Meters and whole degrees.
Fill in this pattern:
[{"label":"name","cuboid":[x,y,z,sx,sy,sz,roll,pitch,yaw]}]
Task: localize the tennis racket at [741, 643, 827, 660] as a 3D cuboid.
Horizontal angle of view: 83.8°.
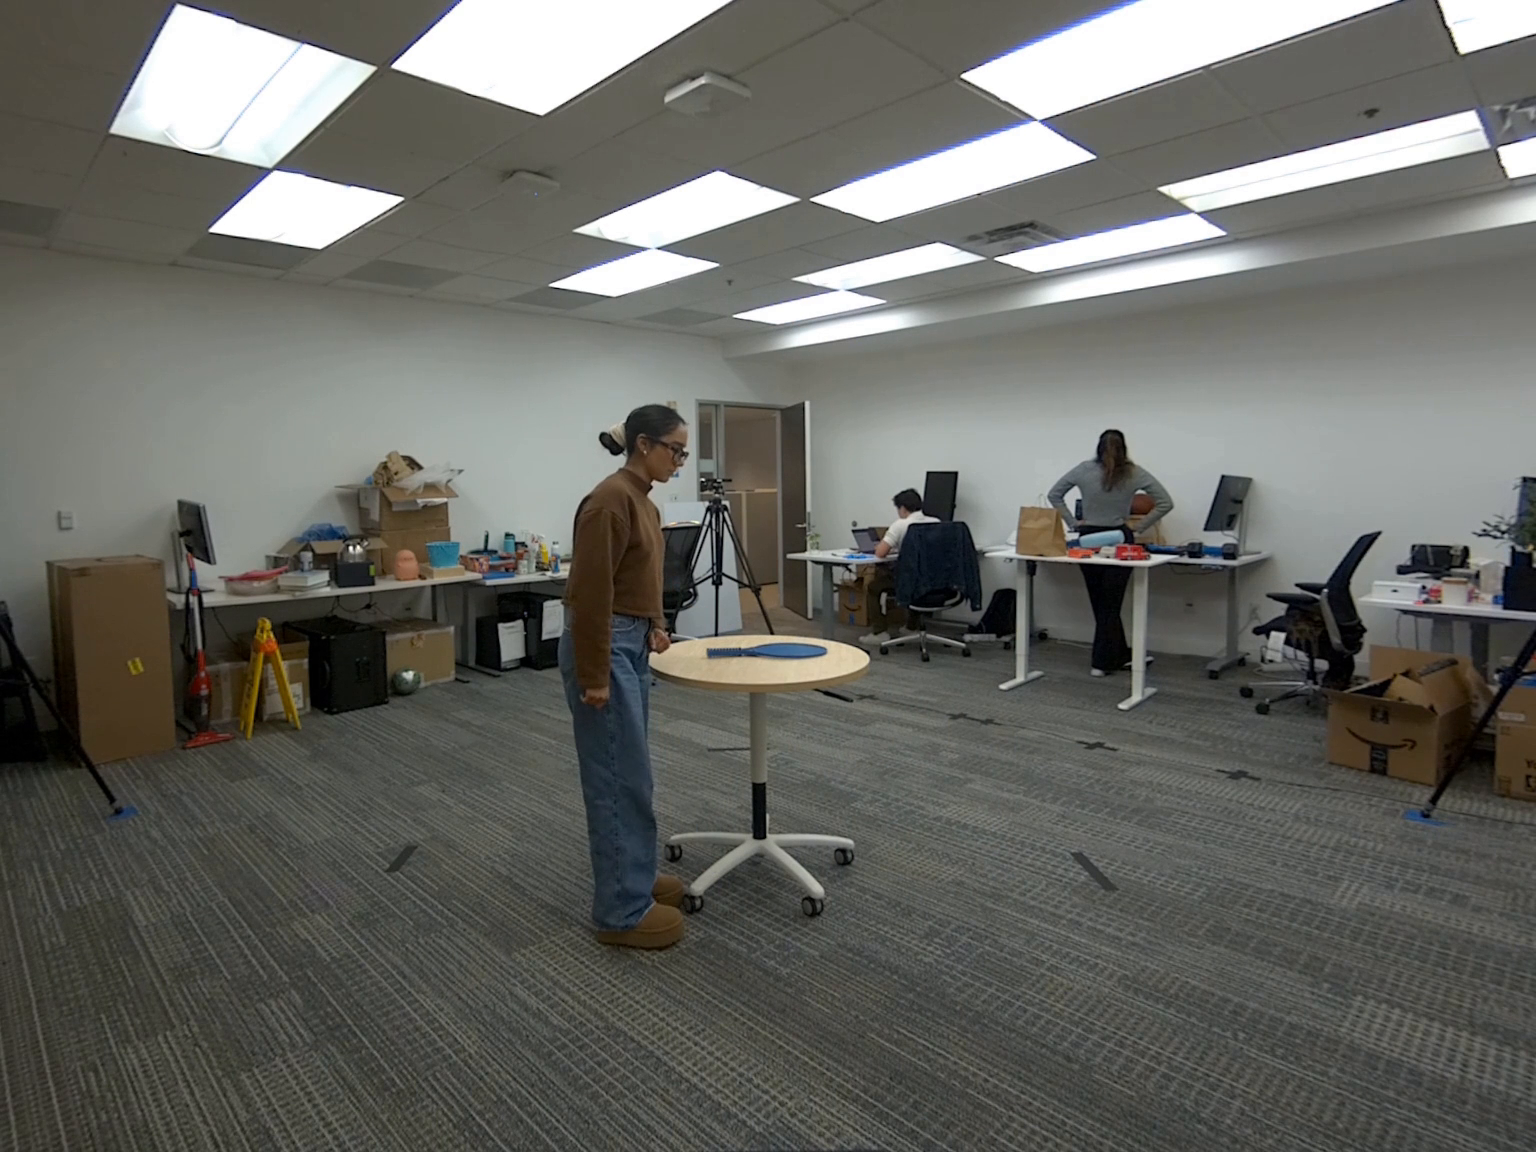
[{"label":"tennis racket","cuboid":[0.003,0.264,2.990,0.429,0.031,0.217,-1,7,-10]}]
